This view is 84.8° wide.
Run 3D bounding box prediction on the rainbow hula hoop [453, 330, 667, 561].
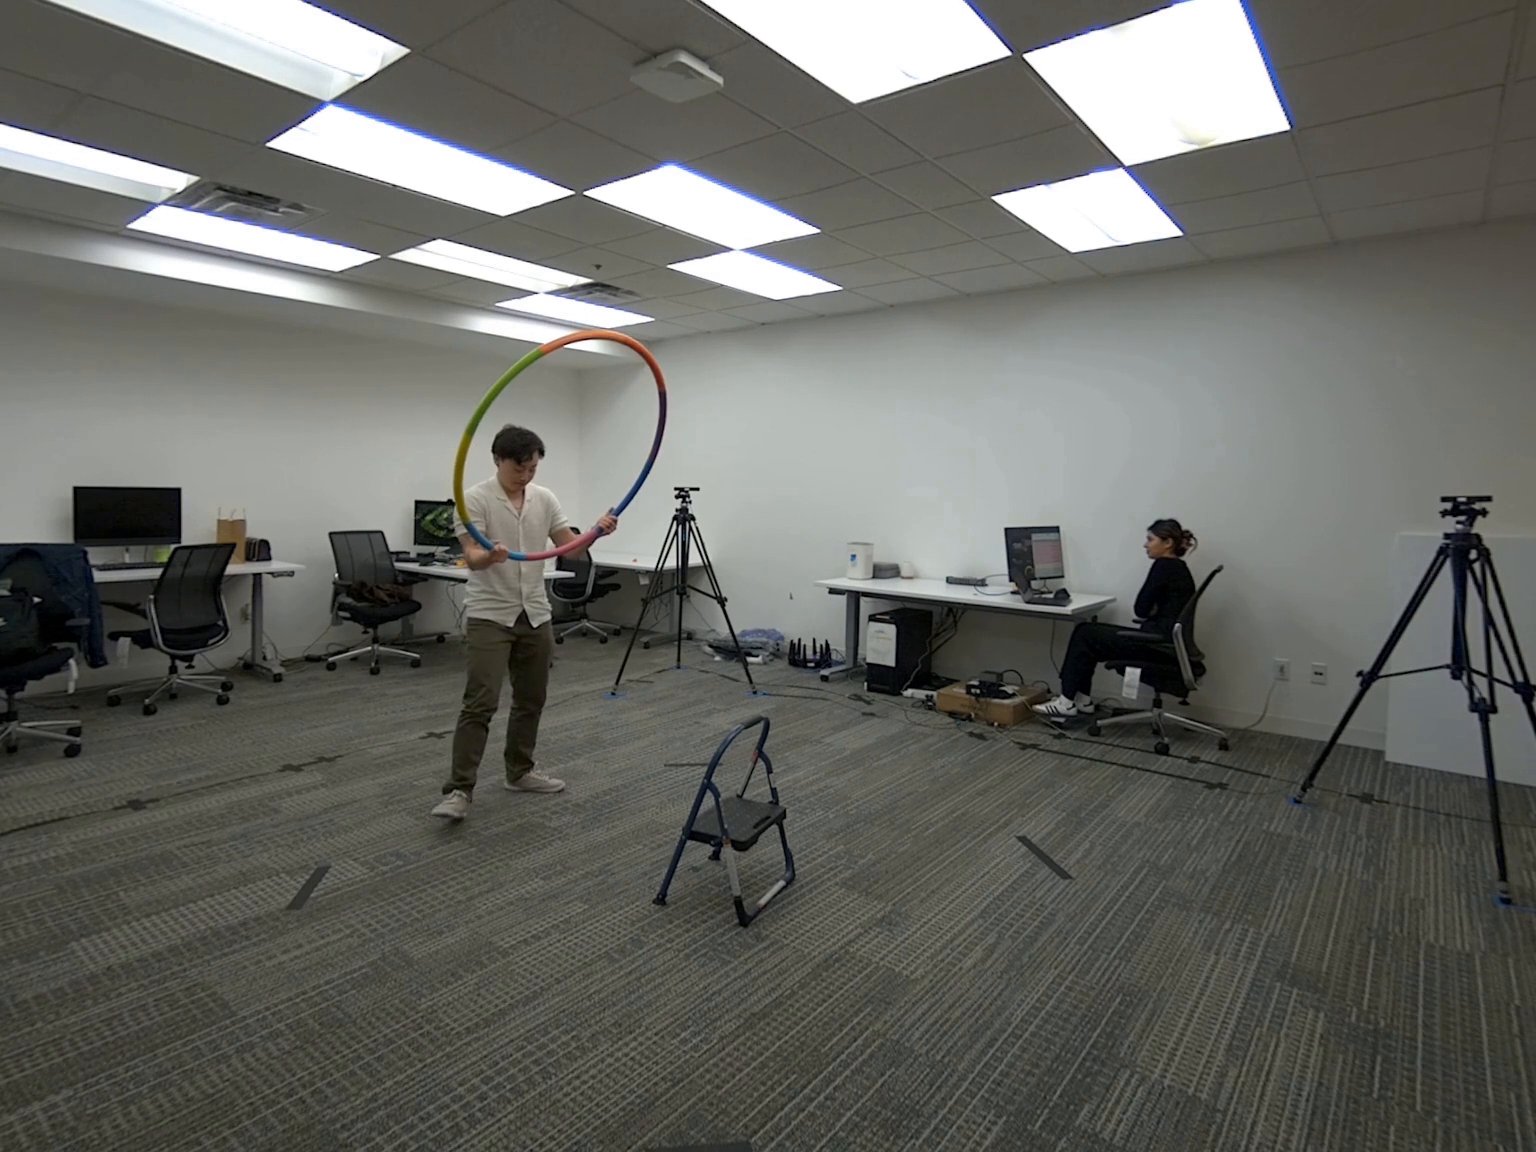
[{"bbox_3d":[-0.791,-0.486,3.298,0.037,0.970,0.951,38,24,28],"label":"rainbow hula hoop"}]
